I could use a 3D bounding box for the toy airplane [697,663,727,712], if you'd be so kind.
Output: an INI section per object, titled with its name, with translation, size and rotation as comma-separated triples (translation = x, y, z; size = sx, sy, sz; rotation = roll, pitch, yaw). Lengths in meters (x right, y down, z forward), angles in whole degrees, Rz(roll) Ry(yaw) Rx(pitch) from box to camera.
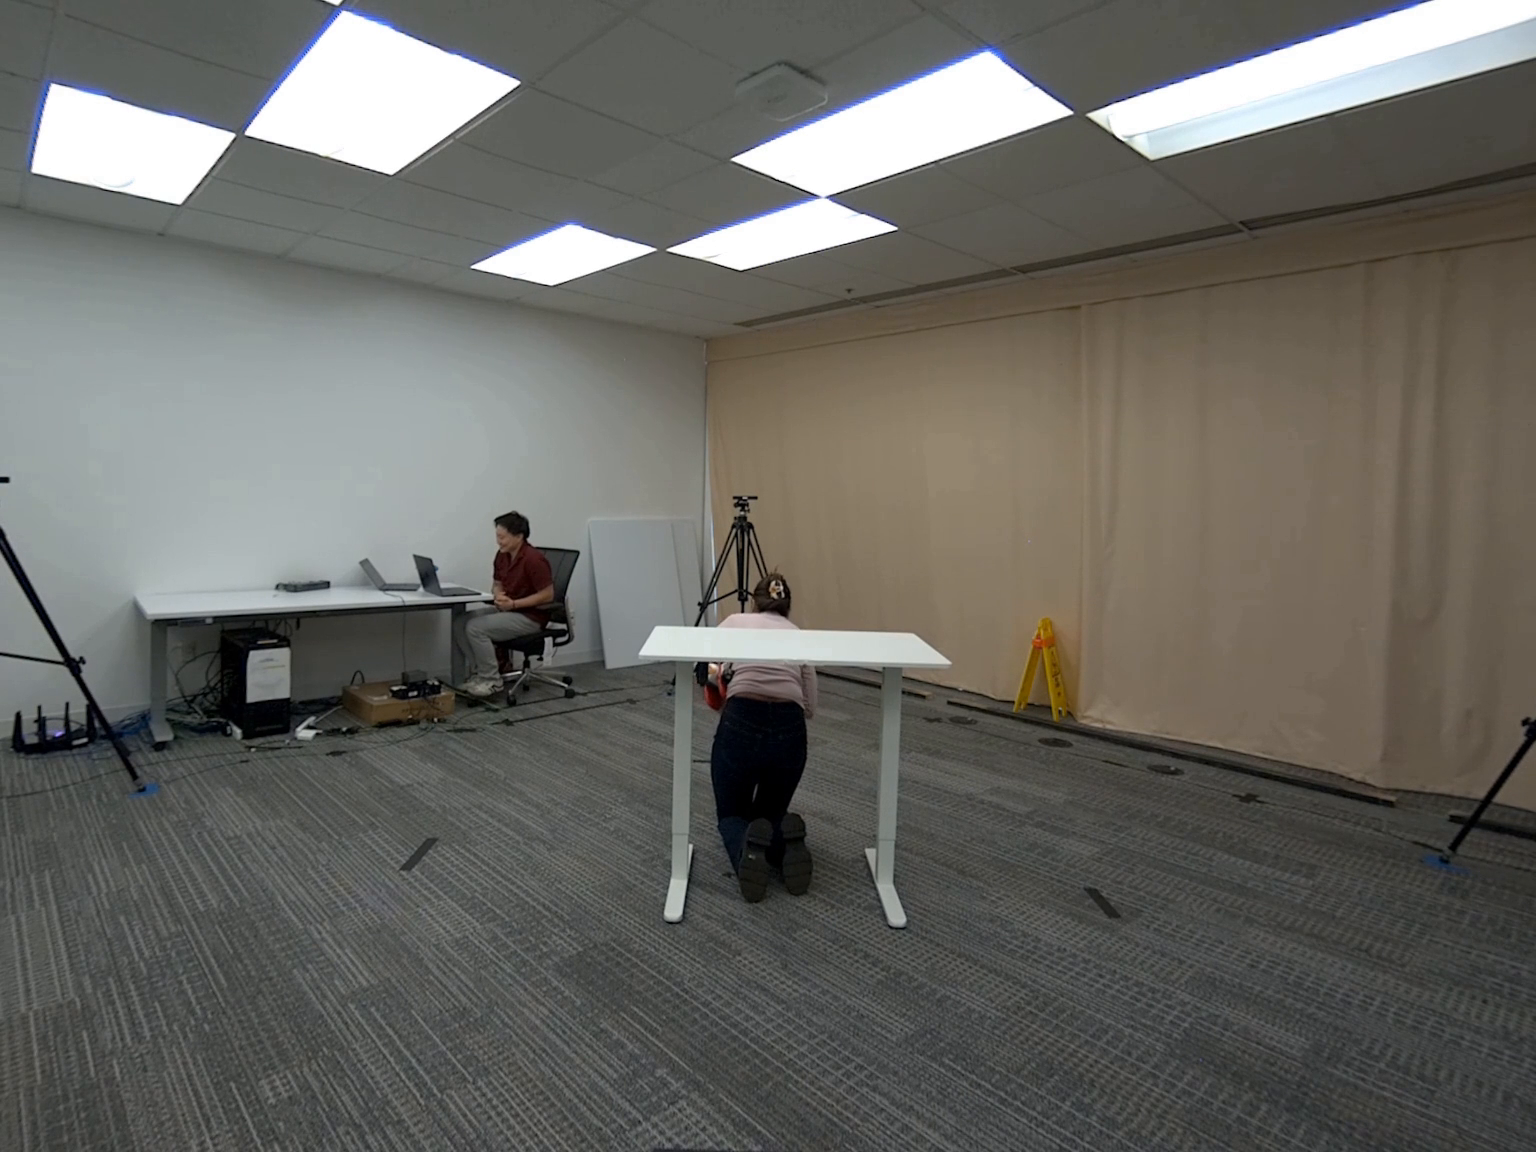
[toy airplane]
translation = -0.168, 0.460, 3.472
size = 0.158, 0.258, 0.249
rotation = -19, 4, 22
